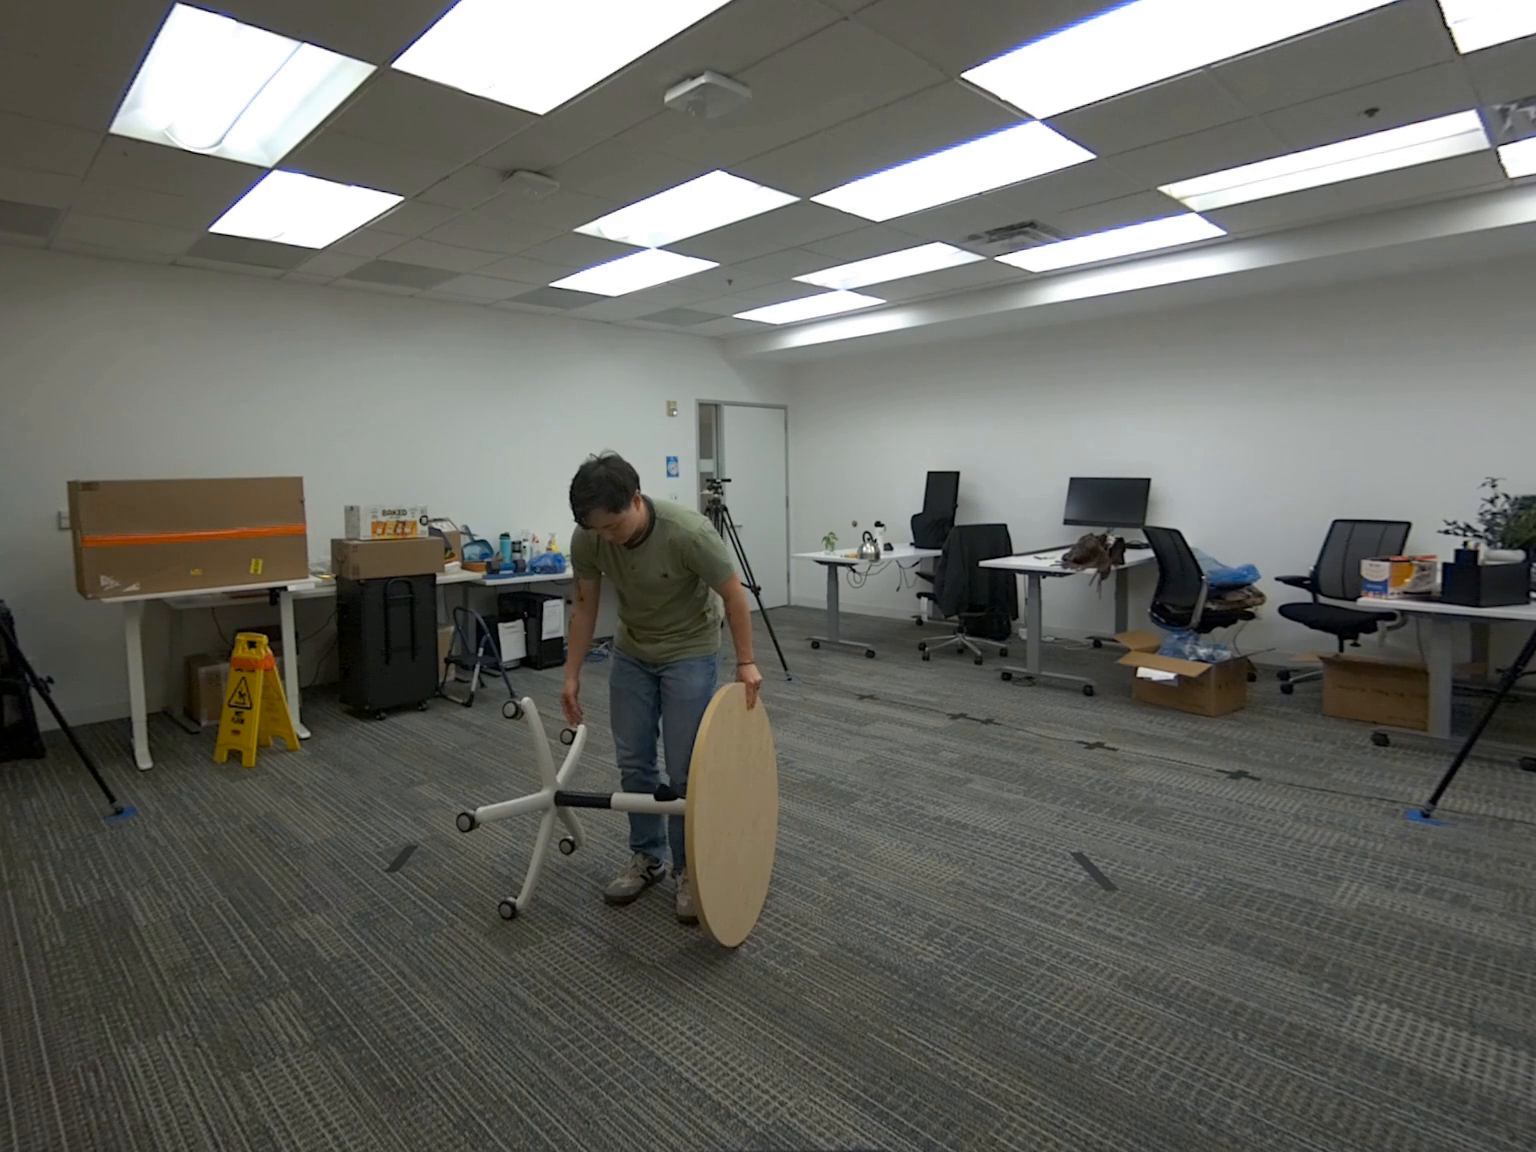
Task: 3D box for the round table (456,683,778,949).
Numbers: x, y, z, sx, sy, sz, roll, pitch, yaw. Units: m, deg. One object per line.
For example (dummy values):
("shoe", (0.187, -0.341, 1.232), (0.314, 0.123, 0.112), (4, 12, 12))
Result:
("round table", (-0.459, 0.740, 2.755), (0.807, 0.762, 0.753), (-4, 4, 18))
